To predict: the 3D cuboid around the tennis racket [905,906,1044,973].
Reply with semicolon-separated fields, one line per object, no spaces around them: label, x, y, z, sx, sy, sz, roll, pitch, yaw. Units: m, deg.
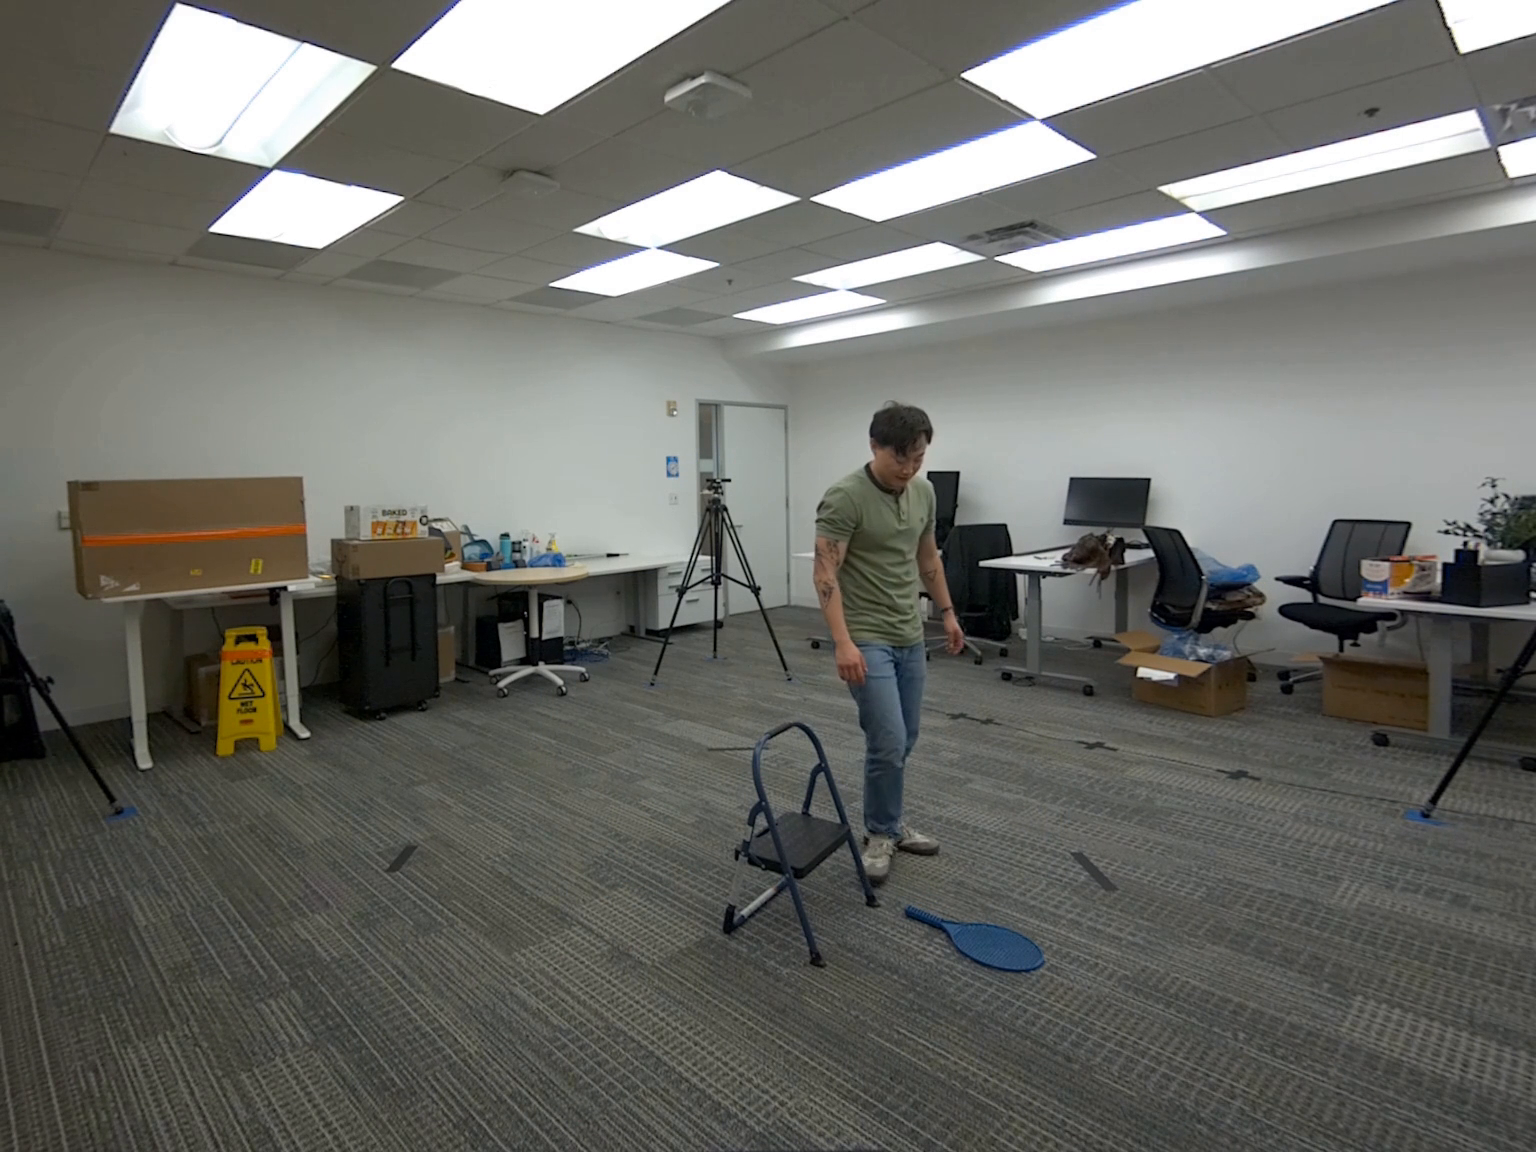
tennis racket;0.605;1.076;2.574;0.446;0.031;0.208;6;10;43
